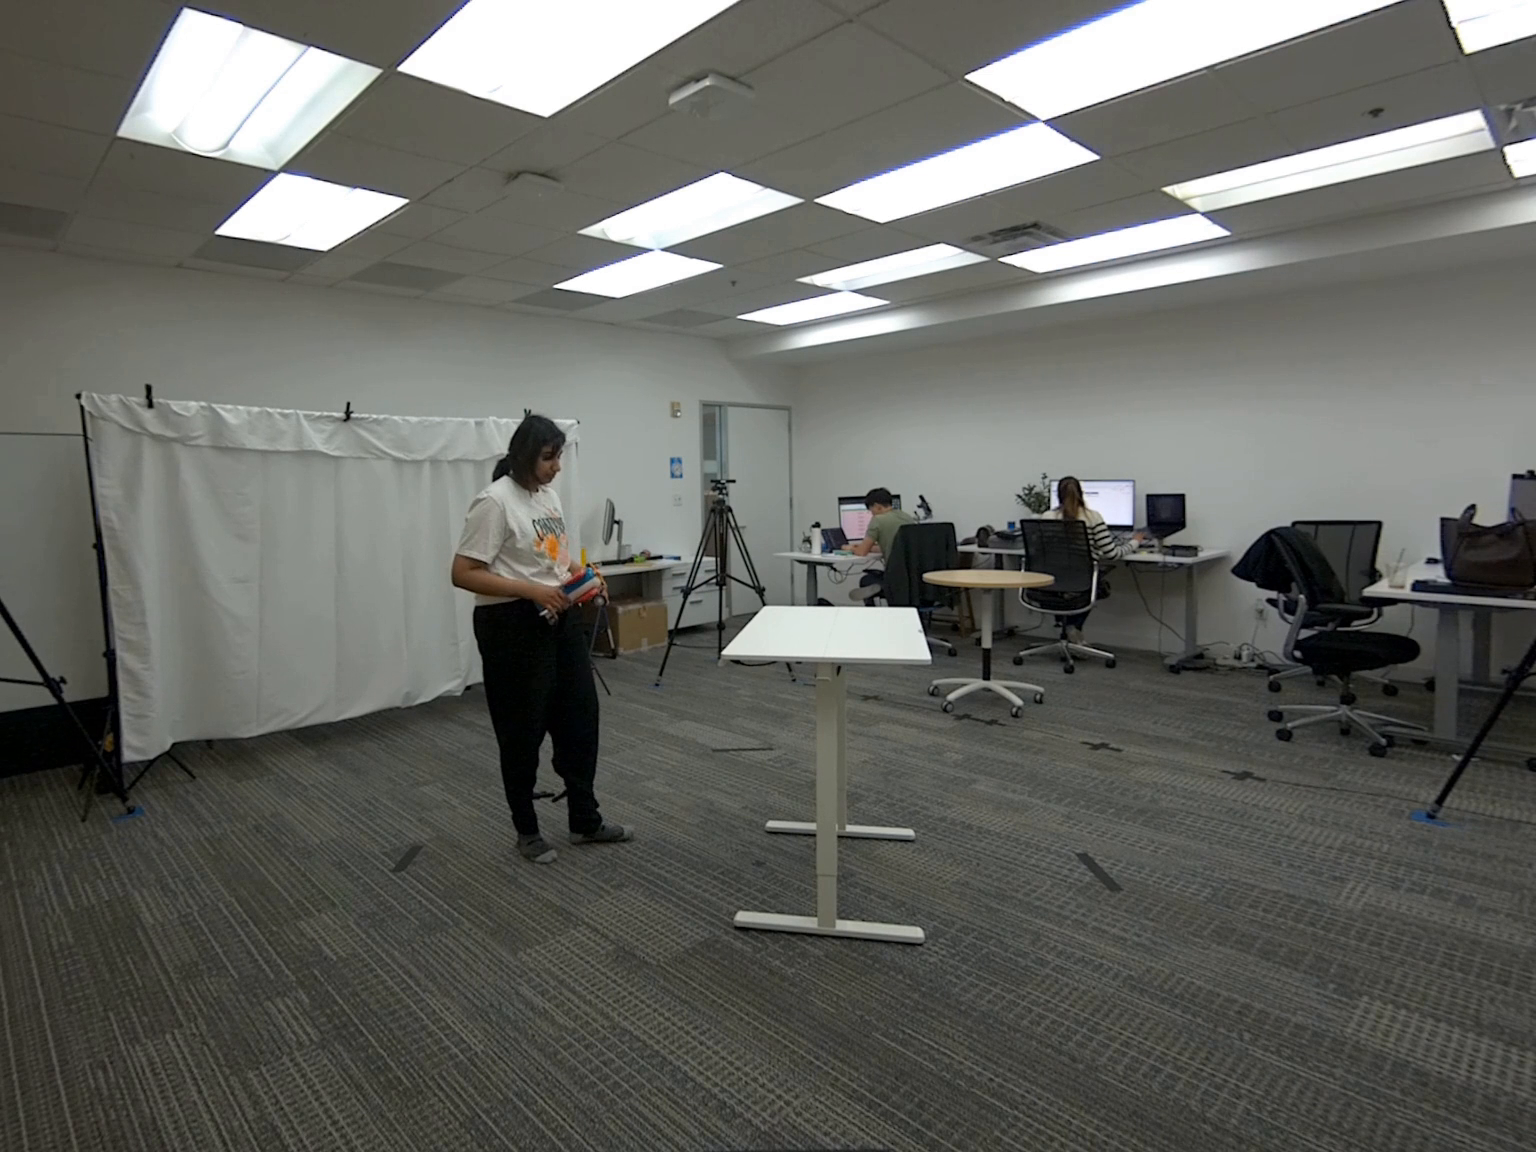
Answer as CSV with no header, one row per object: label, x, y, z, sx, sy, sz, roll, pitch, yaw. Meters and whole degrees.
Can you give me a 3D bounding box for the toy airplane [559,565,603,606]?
toy airplane,-0.701,0.068,3.057,0.255,0.155,0.257,-24,9,-42
